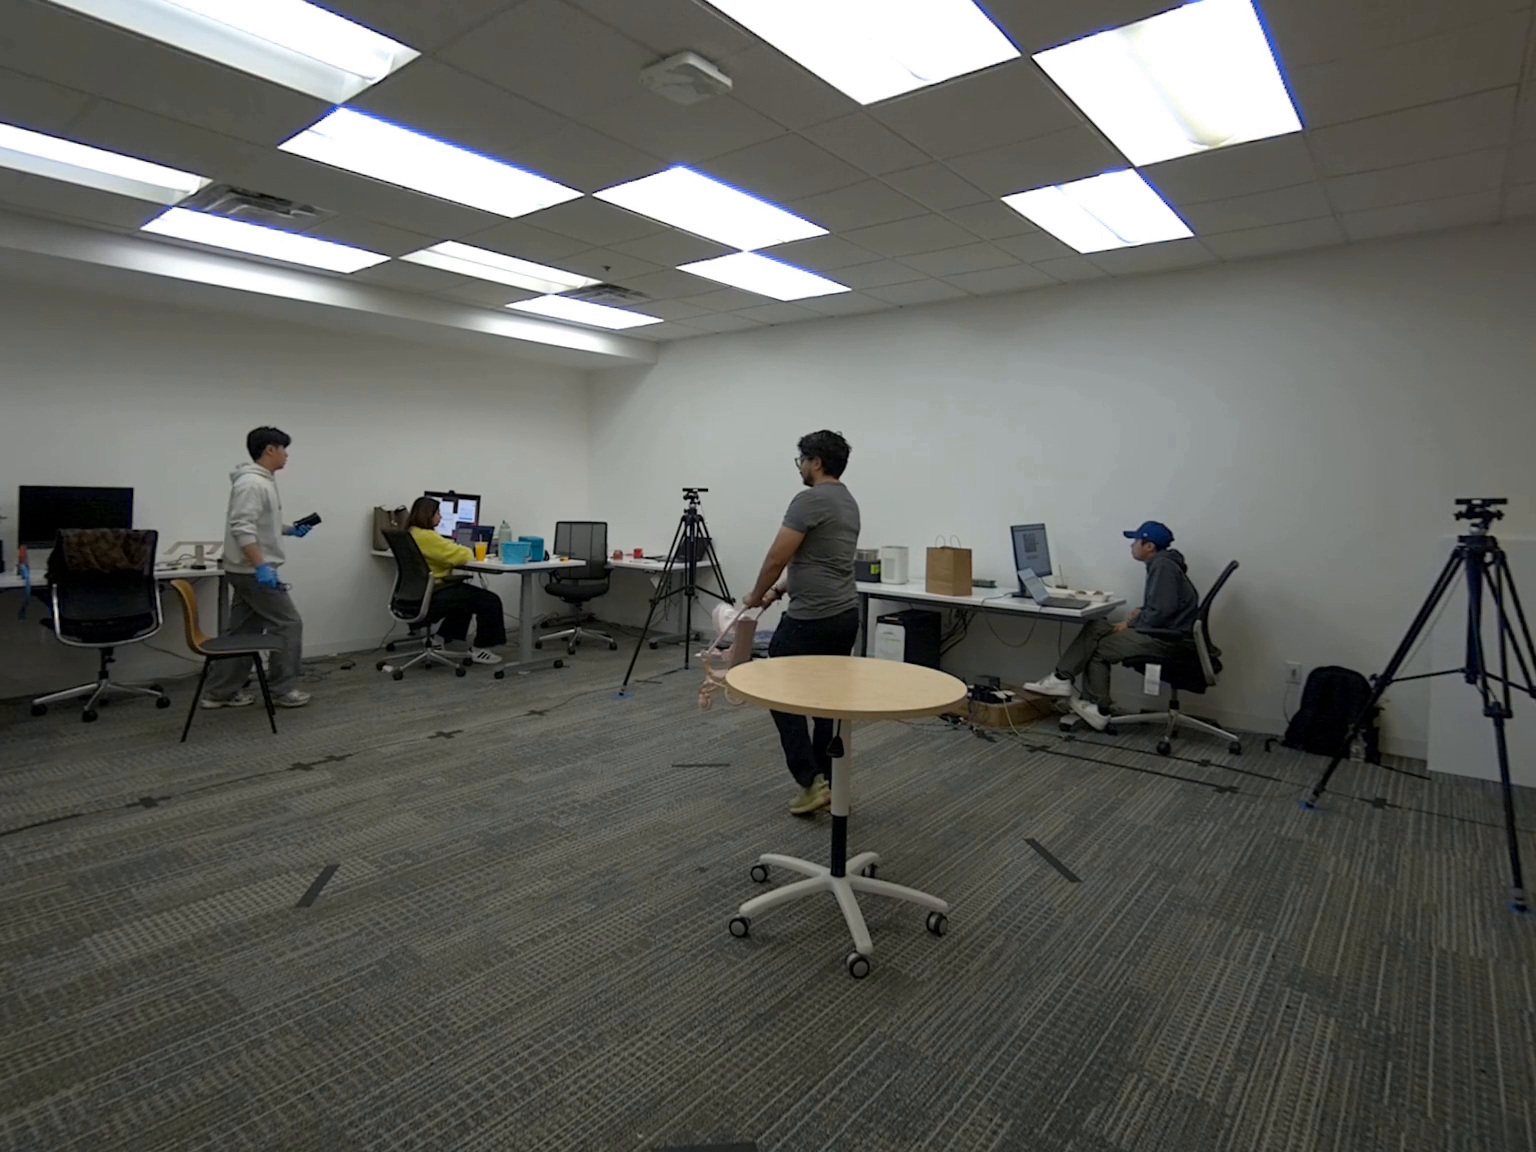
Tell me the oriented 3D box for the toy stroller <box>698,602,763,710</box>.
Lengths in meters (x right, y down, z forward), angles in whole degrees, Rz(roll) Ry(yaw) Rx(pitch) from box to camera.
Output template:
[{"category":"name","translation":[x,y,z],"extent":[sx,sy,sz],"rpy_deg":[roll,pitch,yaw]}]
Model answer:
[{"category":"toy stroller","translation":[-0.187,0.363,3.950],"extent":[0.351,0.537,0.272],"rpy_deg":[0,-4,33]}]
